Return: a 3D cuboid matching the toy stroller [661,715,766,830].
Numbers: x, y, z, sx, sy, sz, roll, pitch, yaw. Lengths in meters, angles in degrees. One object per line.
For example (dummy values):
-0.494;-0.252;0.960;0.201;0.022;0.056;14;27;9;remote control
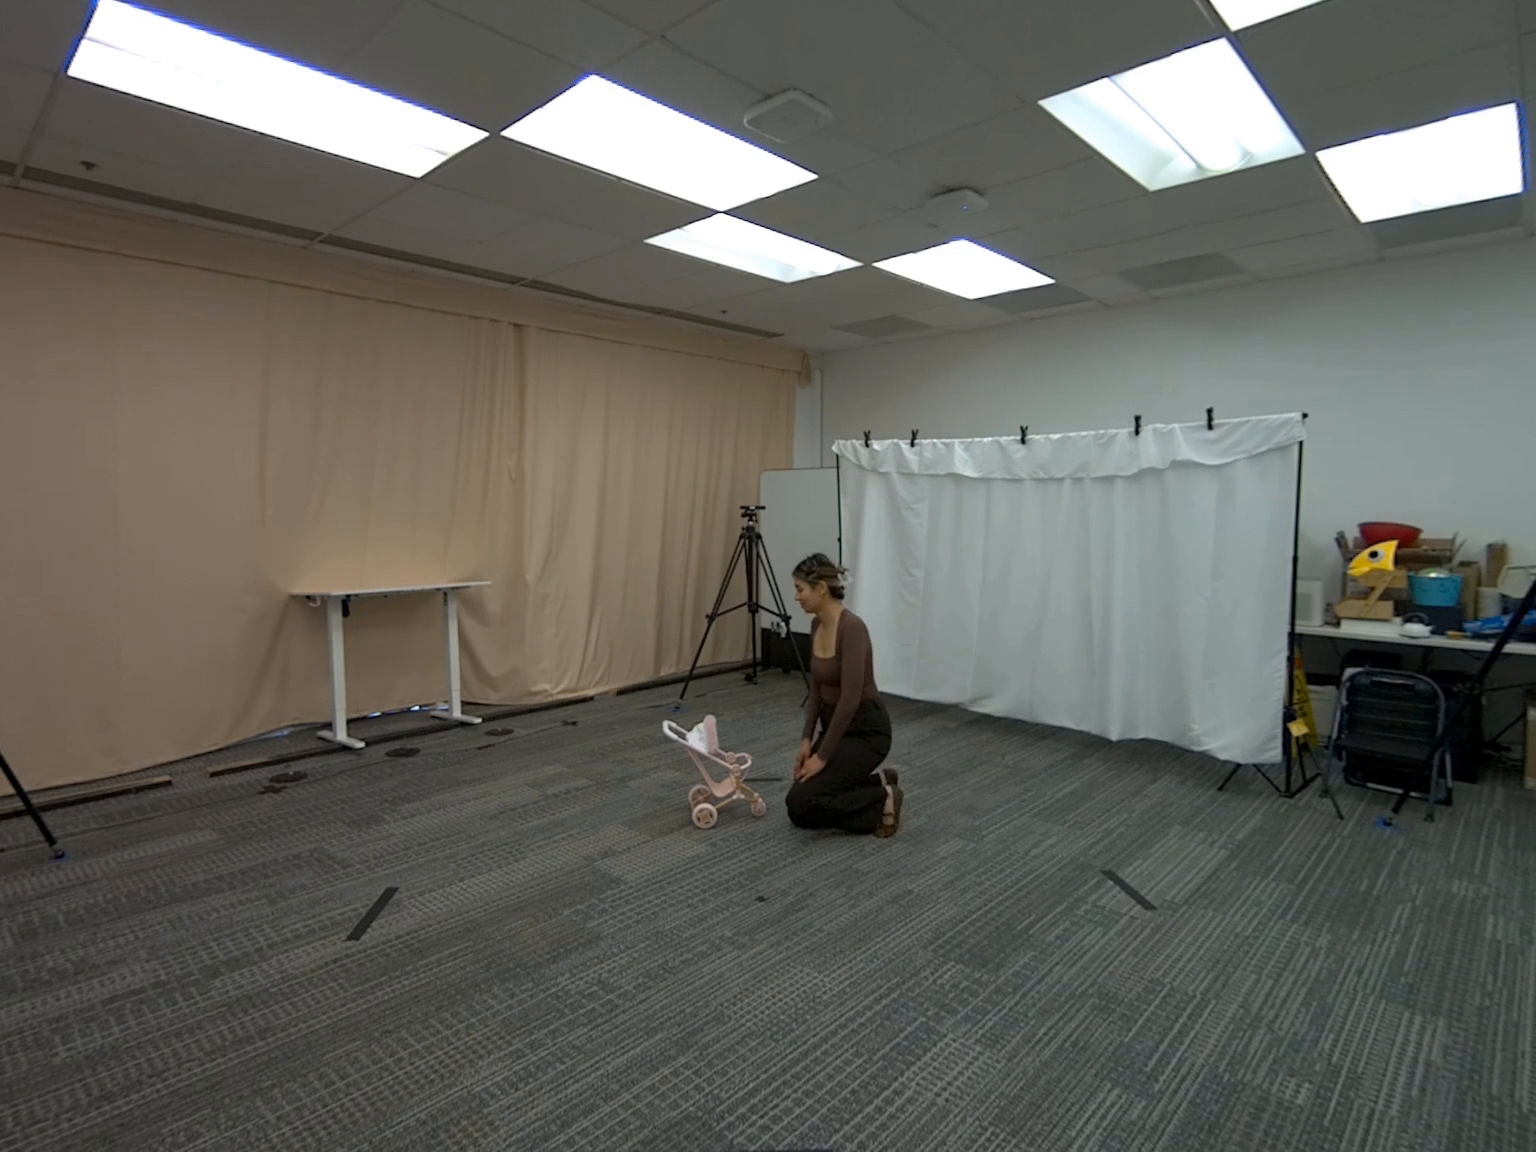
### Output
-0.233;0.862;3.766;0.341;0.533;0.283;-17;4;-2;toy stroller
